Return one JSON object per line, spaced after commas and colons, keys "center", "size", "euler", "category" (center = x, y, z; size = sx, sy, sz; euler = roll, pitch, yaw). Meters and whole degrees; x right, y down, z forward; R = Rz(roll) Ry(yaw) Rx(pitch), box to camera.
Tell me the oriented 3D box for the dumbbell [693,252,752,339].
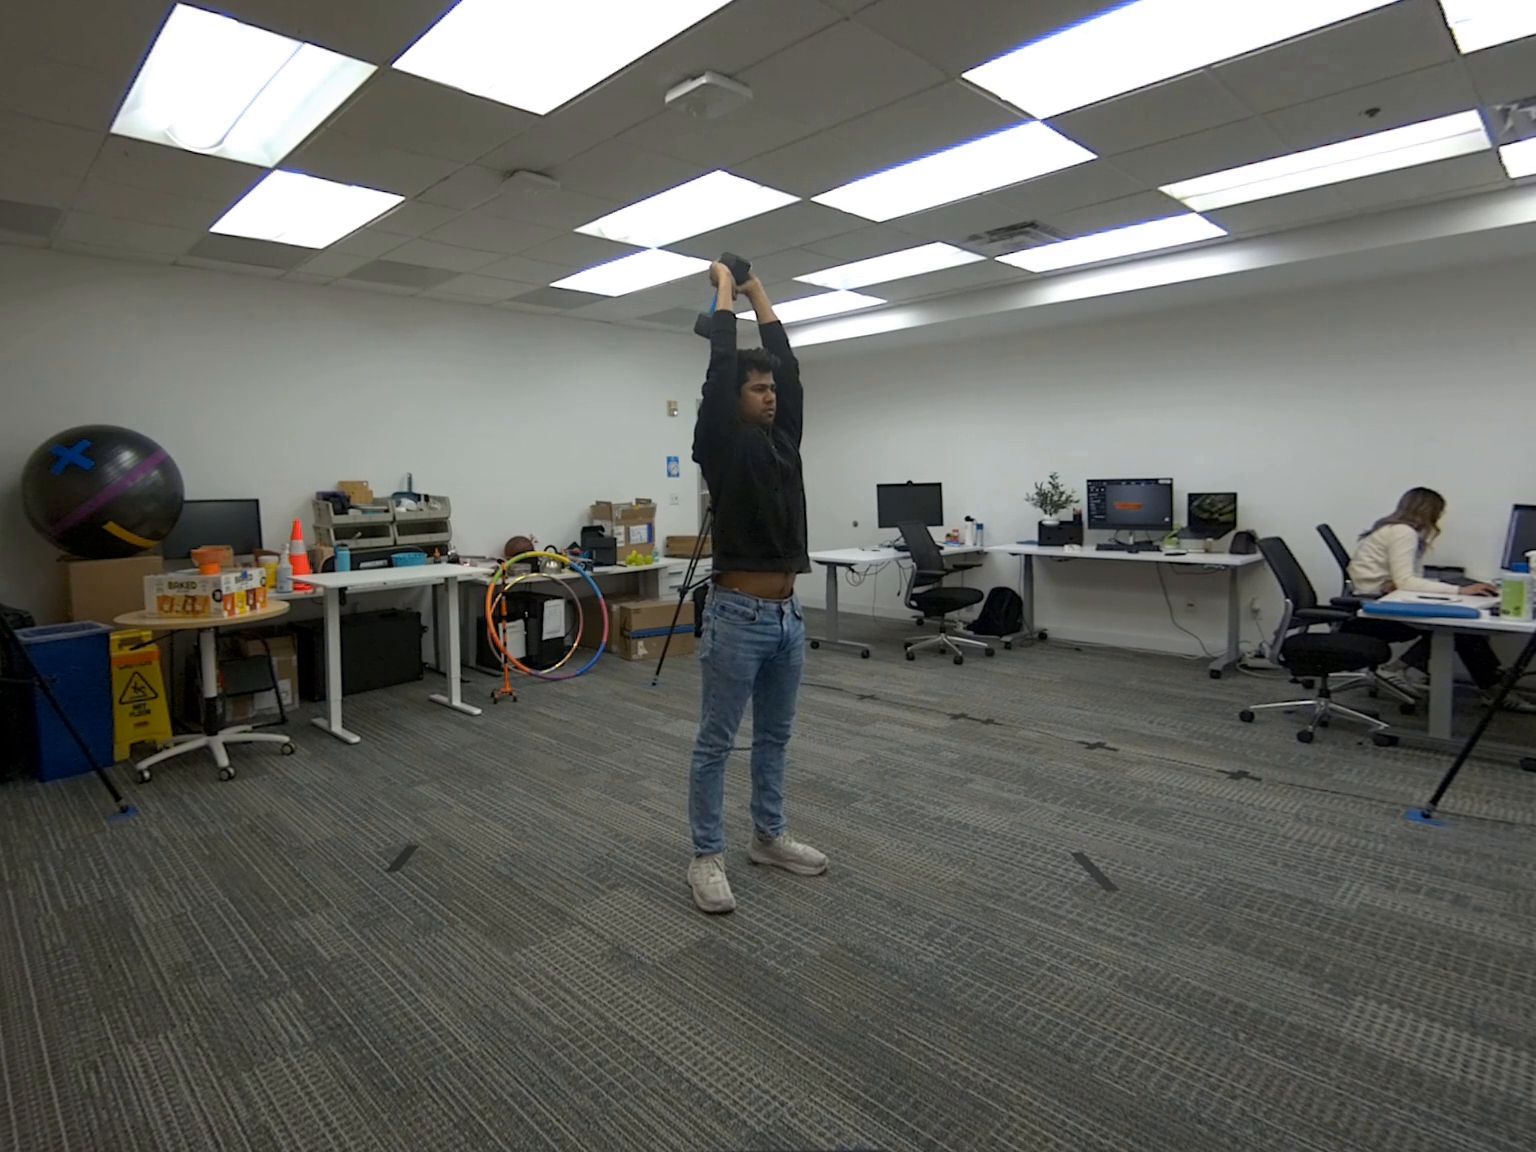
{"center": [-0.155, -0.950, 2.948], "size": [0.119, 0.292, 0.113], "euler": [15, 17, -32], "category": "dumbbell"}
